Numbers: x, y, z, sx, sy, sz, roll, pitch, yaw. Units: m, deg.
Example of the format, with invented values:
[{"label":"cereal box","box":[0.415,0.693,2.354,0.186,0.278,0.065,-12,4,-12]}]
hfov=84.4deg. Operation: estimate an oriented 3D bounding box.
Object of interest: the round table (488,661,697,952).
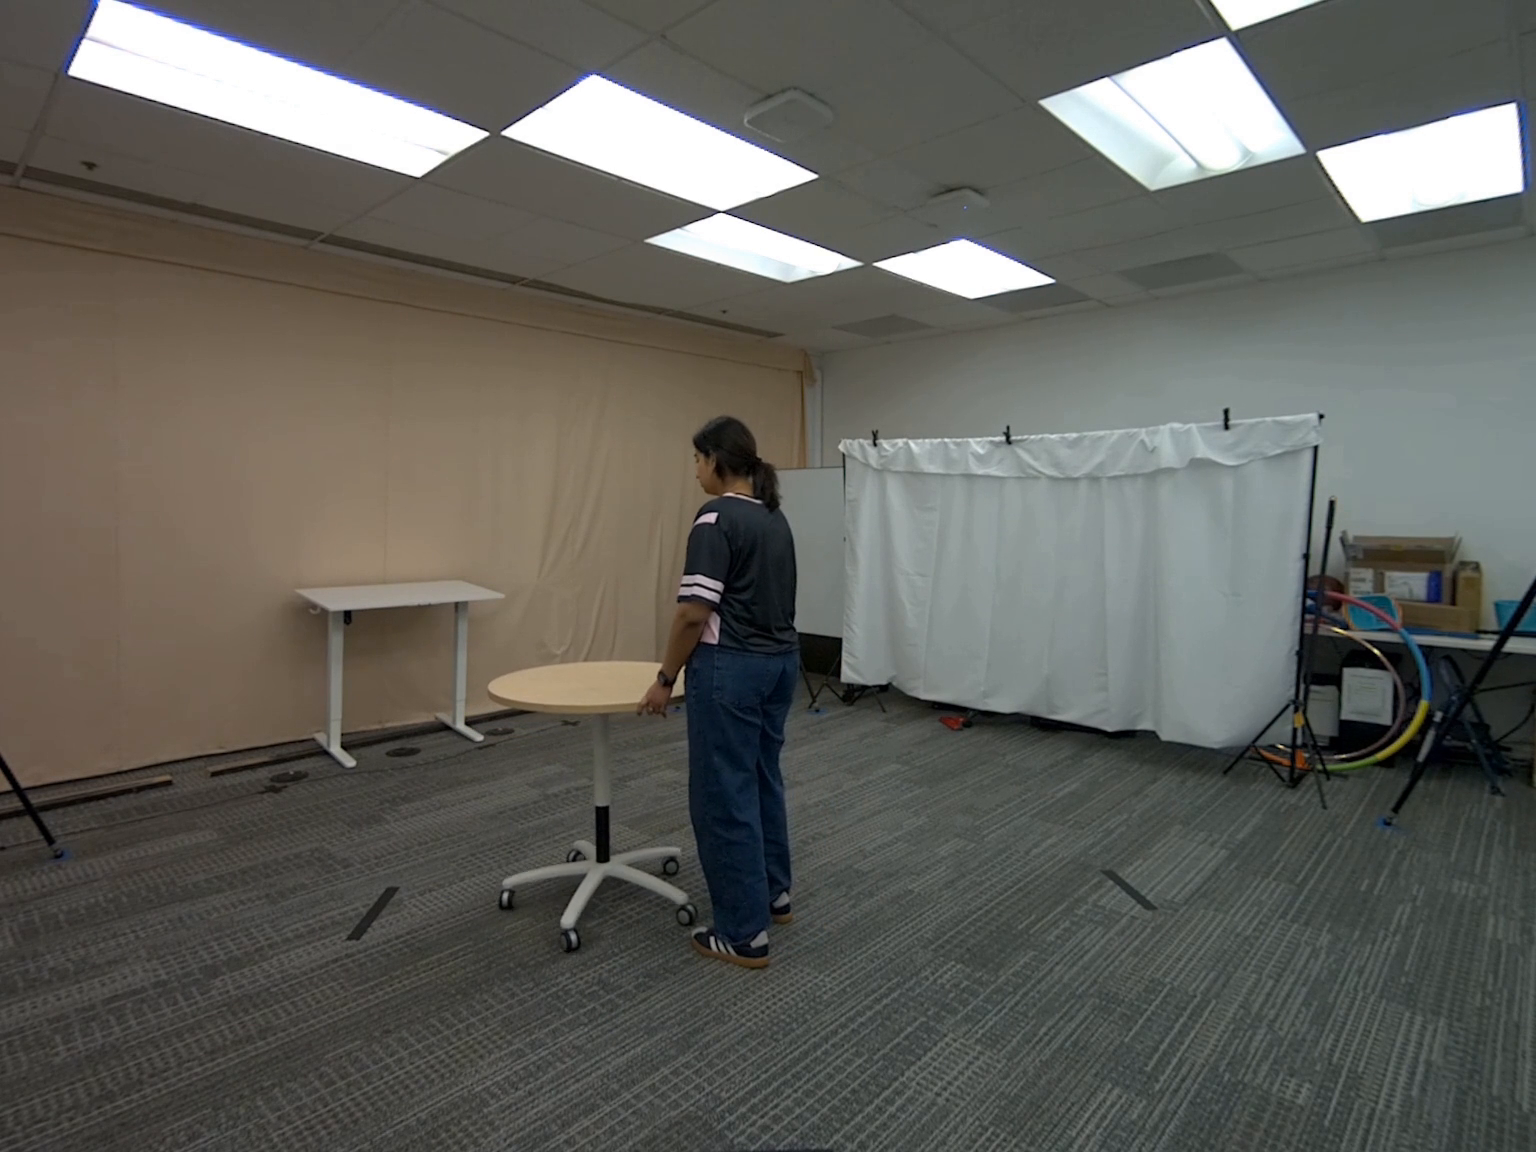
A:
[{"label":"round table","box":[-0.574,0.755,2.959,0.784,0.785,0.787,-1,3,-2]}]
